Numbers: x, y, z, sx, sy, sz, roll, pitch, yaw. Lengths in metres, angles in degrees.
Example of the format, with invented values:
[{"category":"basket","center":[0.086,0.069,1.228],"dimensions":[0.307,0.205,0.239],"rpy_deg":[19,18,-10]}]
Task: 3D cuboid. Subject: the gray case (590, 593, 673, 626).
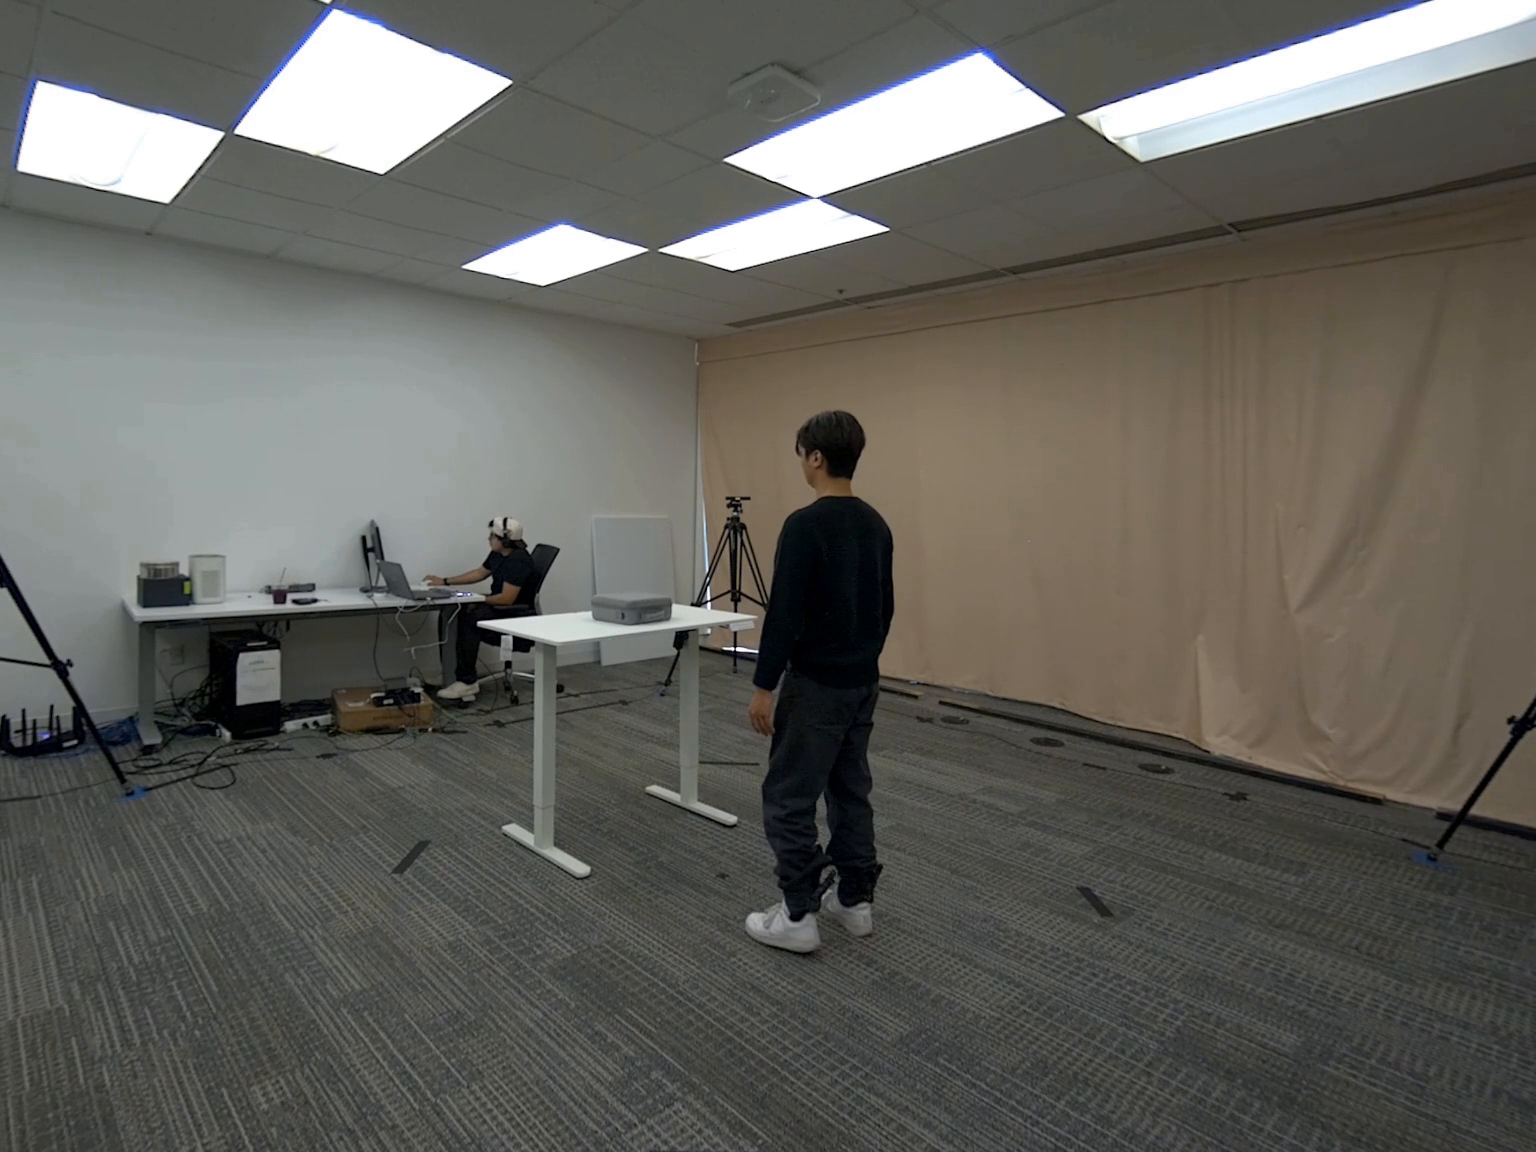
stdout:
[{"category":"gray case","center":[-0.567,0.128,3.474],"dimensions":[0.267,0.104,0.251],"rpy_deg":[6,6,39]}]
